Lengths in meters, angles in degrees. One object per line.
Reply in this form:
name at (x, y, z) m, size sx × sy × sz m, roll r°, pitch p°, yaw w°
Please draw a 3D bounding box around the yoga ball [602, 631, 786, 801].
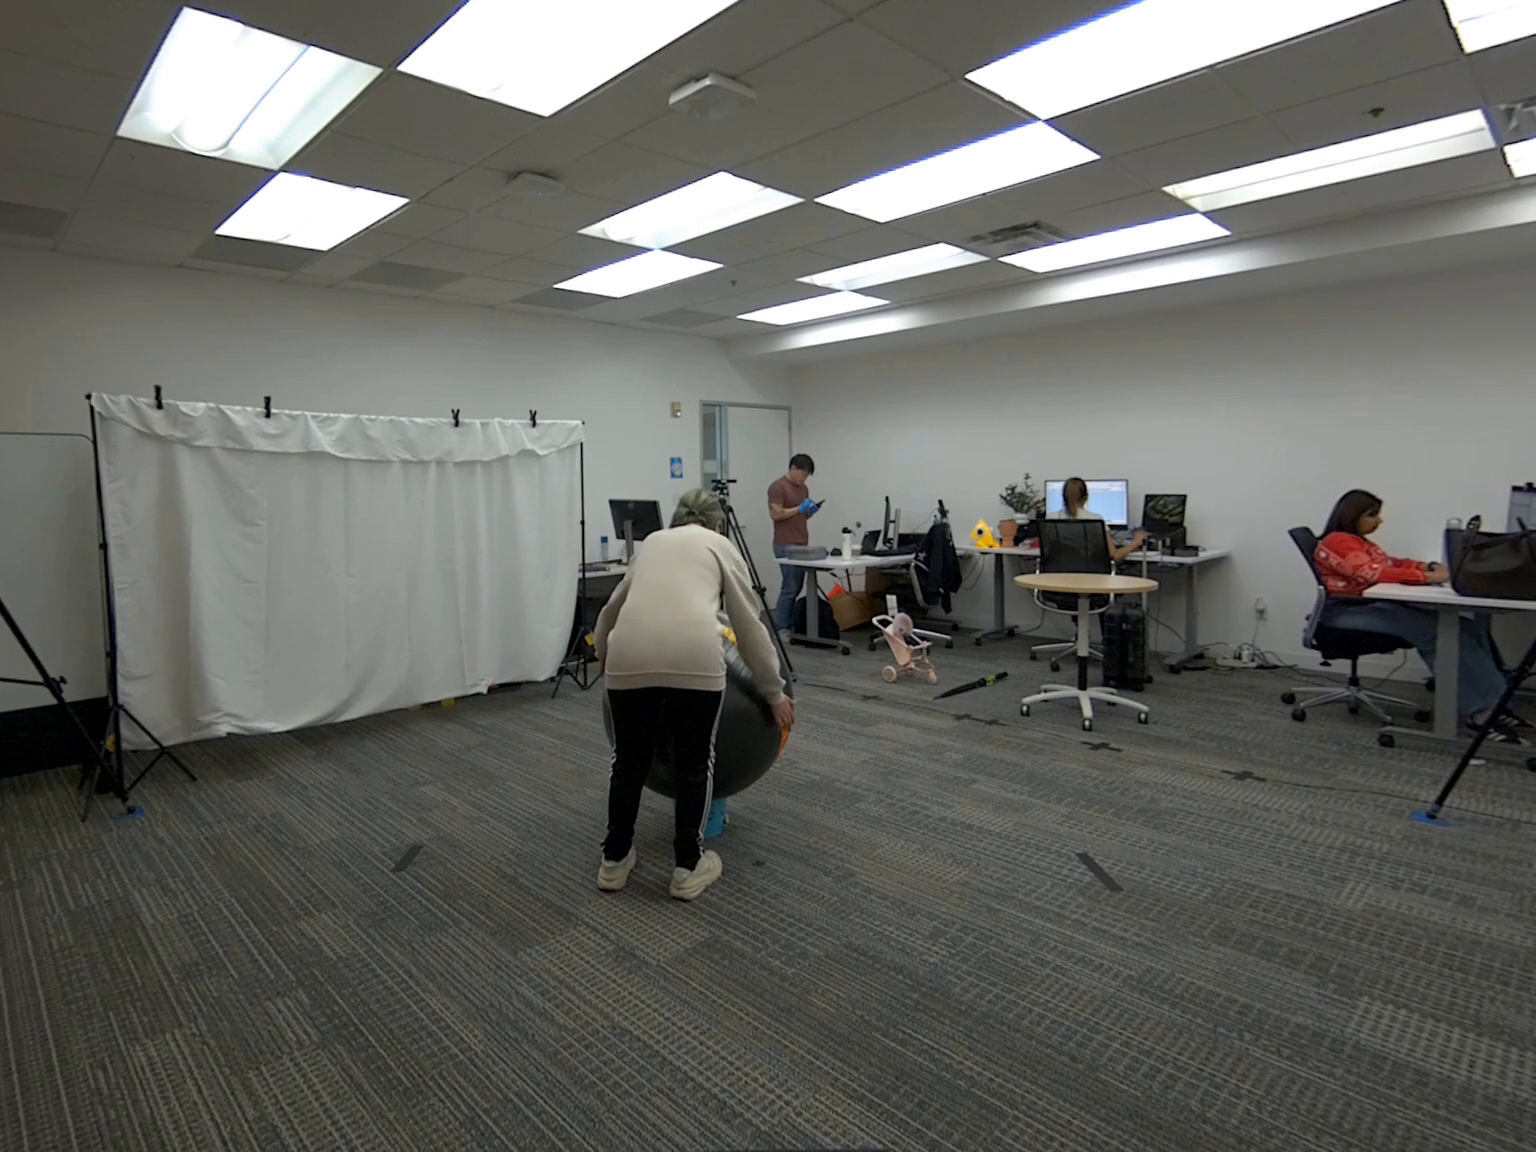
yoga ball at (-0.283, 0.512, 3.402) m, size 0.757 × 0.755 × 0.762 m, roll -1°, pitch 5°, yaw -2°
